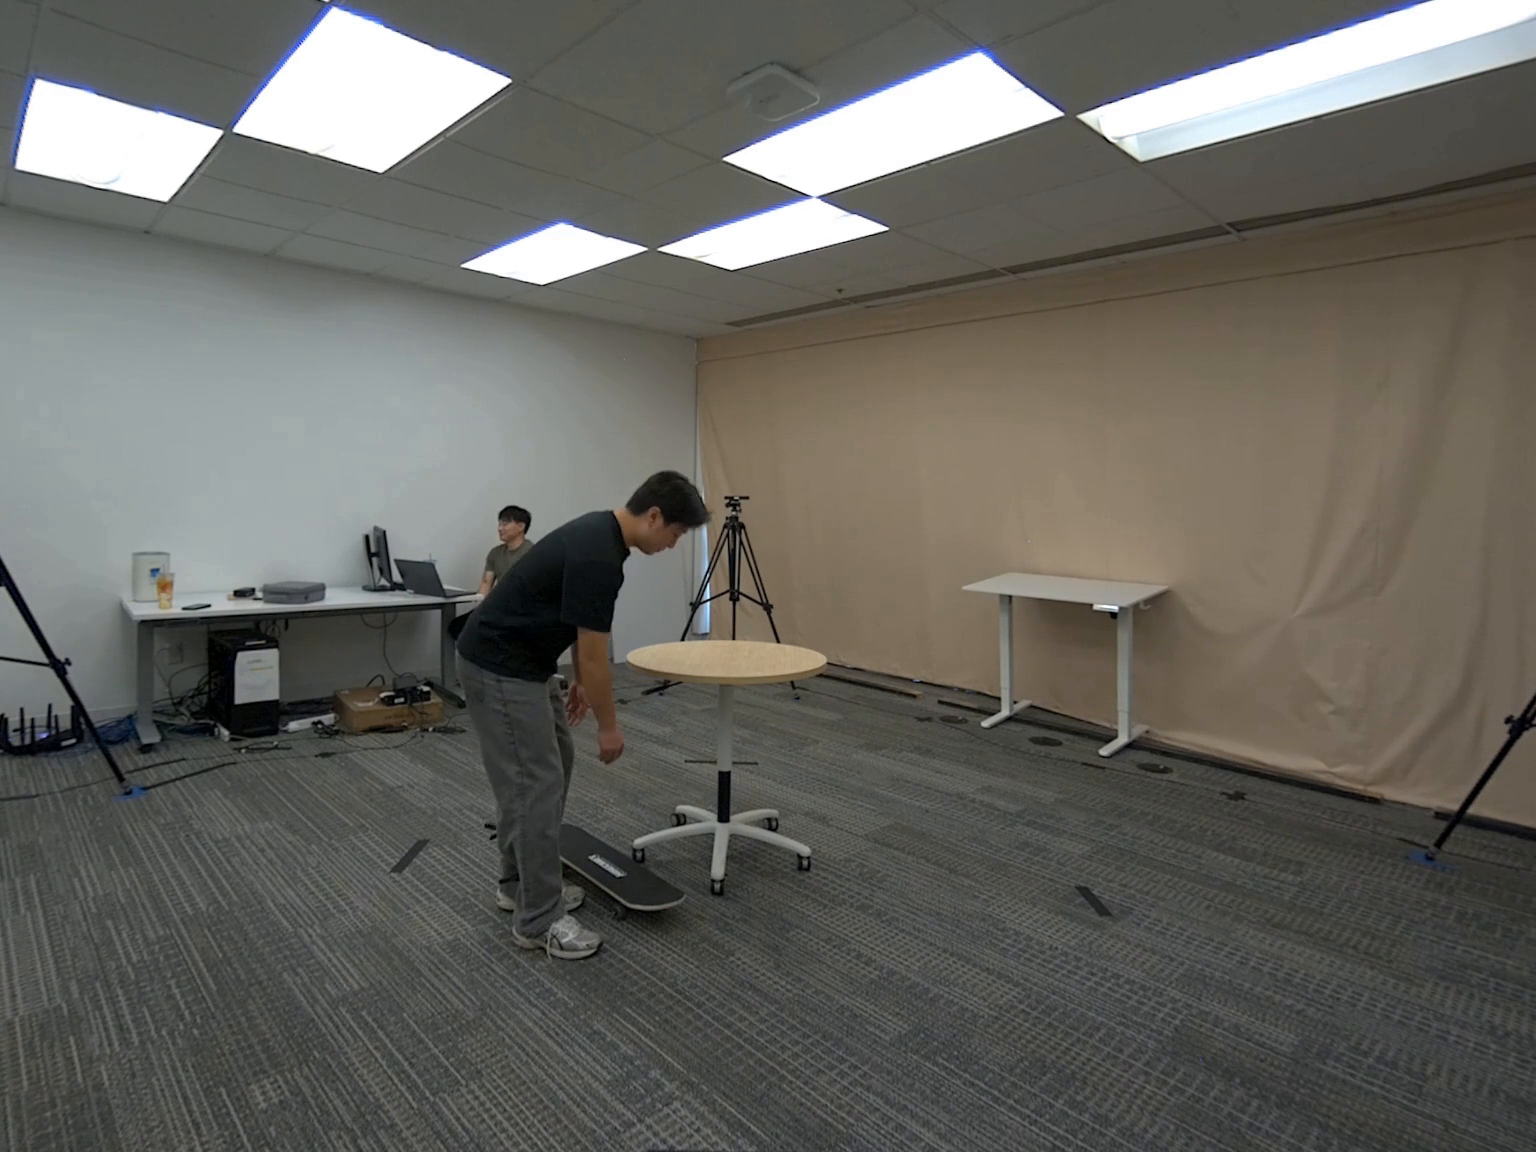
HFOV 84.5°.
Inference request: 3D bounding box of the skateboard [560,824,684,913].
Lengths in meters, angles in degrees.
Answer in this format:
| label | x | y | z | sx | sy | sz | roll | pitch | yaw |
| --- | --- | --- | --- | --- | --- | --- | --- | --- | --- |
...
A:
| label | x | y | z | sx | sy | sz | roll | pitch | yaw |
| --- | --- | --- | --- | --- | --- | --- | --- | --- | --- |
| skateboard | -0.579 | 1.056 | 2.965 | 0.189 | 0.110 | 0.806 | -1 | 5 | -41 |
